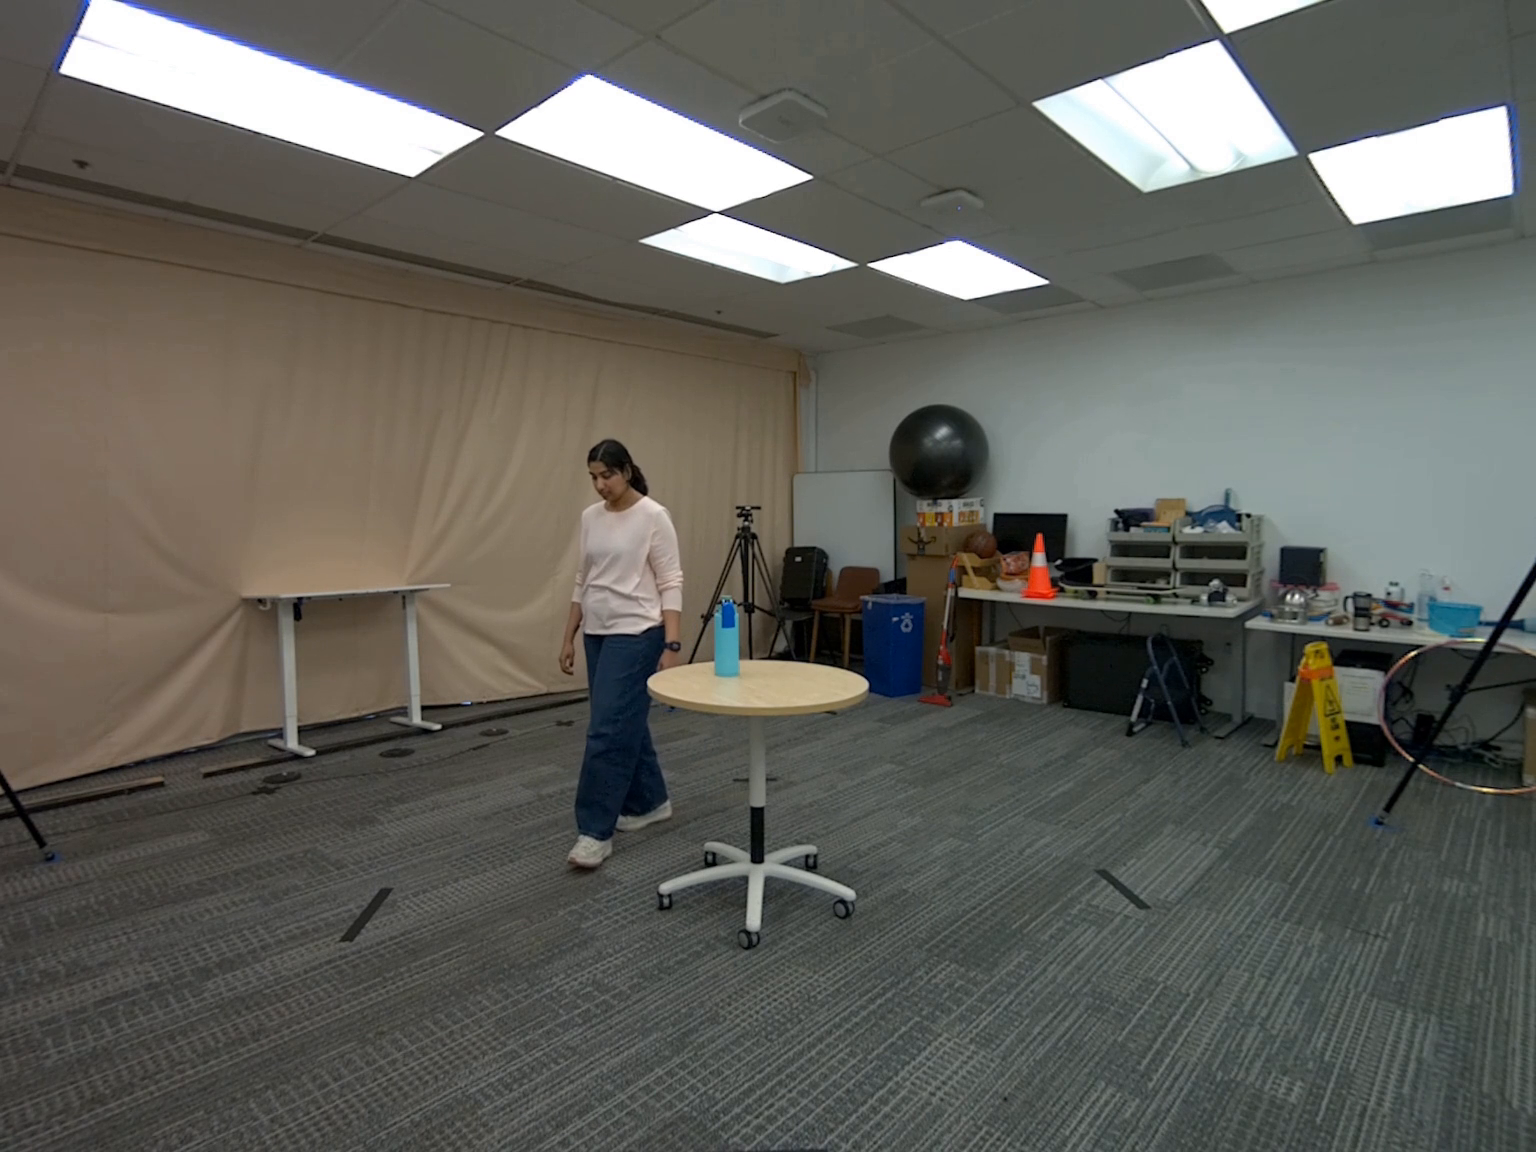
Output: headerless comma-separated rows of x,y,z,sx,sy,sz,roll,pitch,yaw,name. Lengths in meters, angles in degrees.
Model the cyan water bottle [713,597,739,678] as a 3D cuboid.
-0.144,0.216,3.027,0.092,0.282,0.093,0,5,-2,cyan water bottle
